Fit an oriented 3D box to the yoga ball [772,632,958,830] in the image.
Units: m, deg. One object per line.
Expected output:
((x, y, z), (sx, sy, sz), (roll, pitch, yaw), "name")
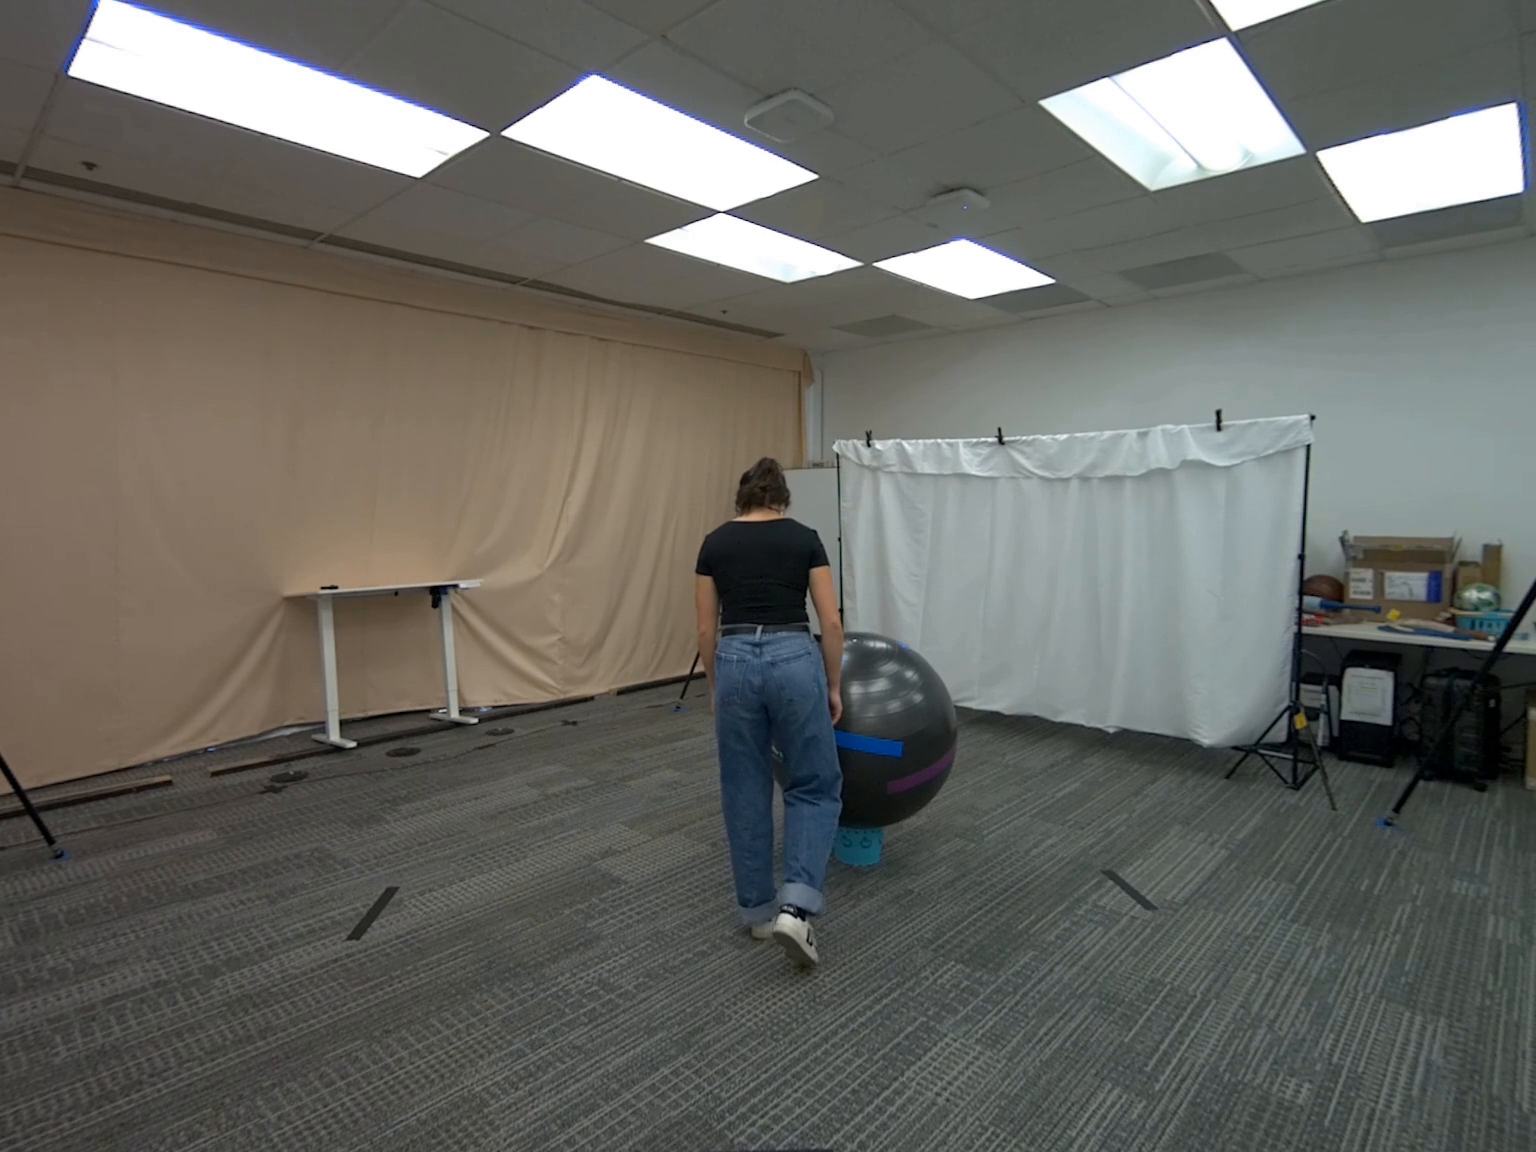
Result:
((0.360, 0.607, 3.318), (0.757, 0.756, 0.761), (0, 4, -2), "yoga ball")
